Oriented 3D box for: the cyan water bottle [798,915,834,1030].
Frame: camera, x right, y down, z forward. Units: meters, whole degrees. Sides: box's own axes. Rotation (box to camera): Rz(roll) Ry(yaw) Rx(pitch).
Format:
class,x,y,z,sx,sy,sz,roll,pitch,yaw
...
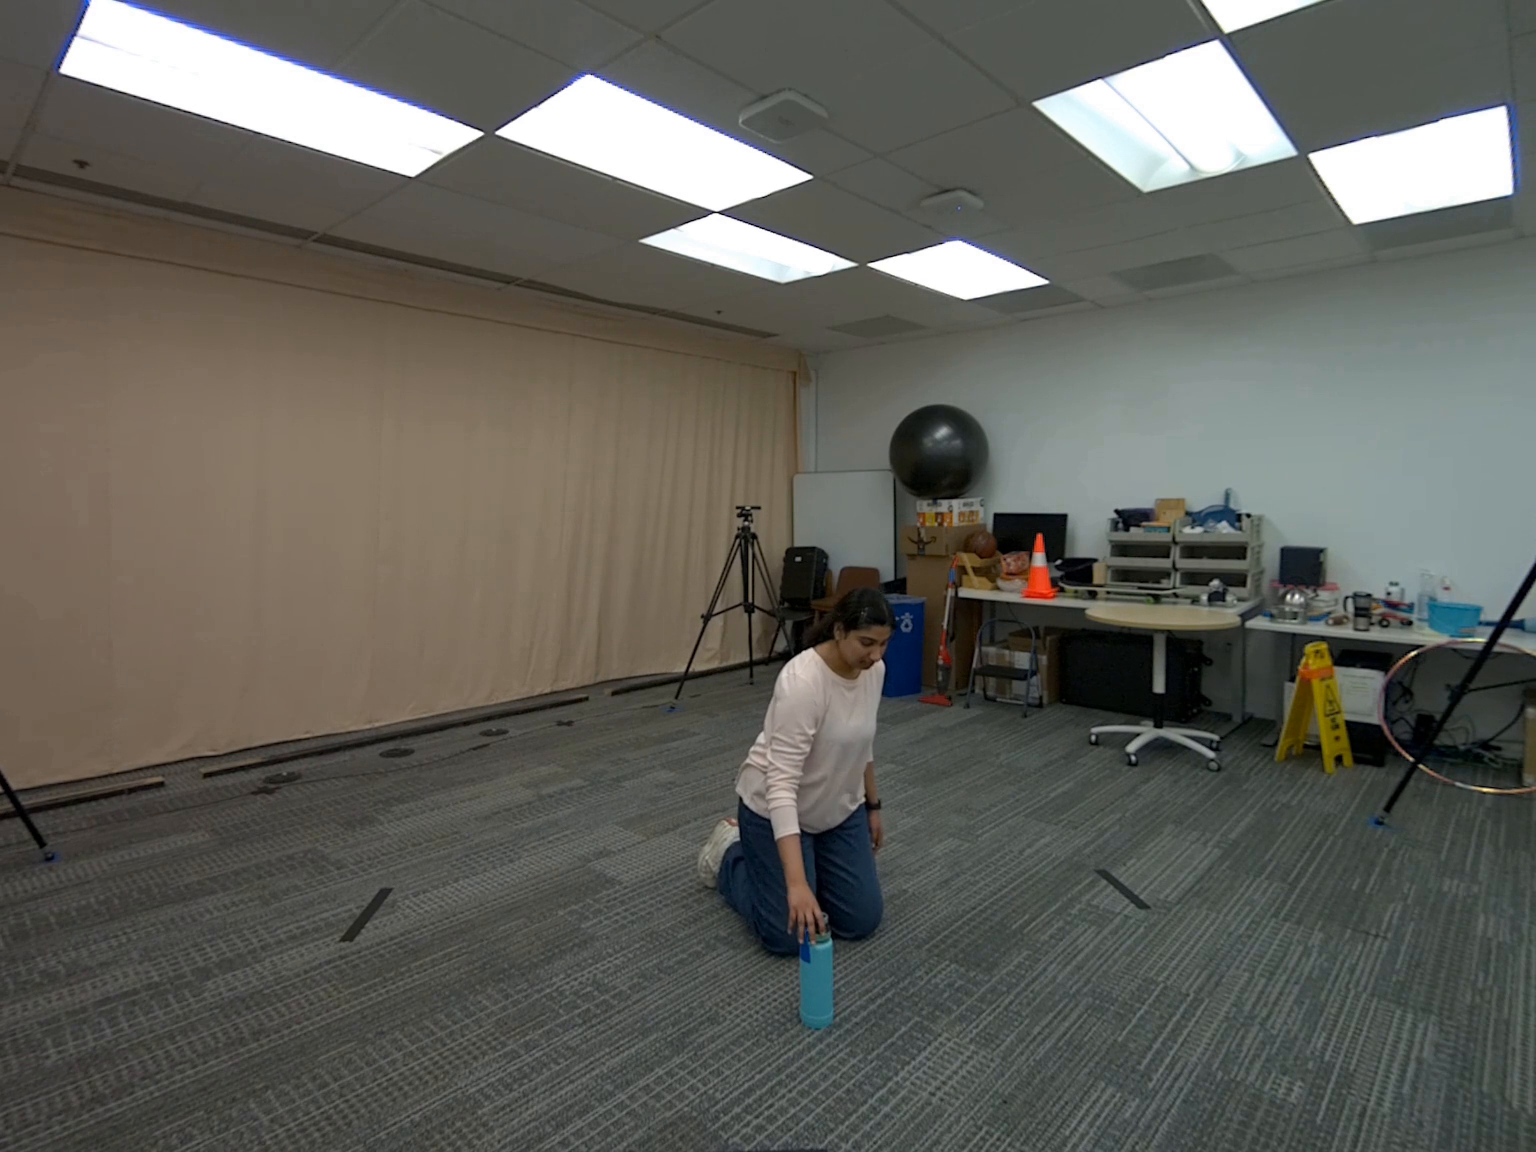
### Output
class,x,y,z,sx,sy,sz,roll,pitch,yaw
cyan water bottle,0.130,1.055,2.279,0.092,0.283,0.092,0,2,-2
